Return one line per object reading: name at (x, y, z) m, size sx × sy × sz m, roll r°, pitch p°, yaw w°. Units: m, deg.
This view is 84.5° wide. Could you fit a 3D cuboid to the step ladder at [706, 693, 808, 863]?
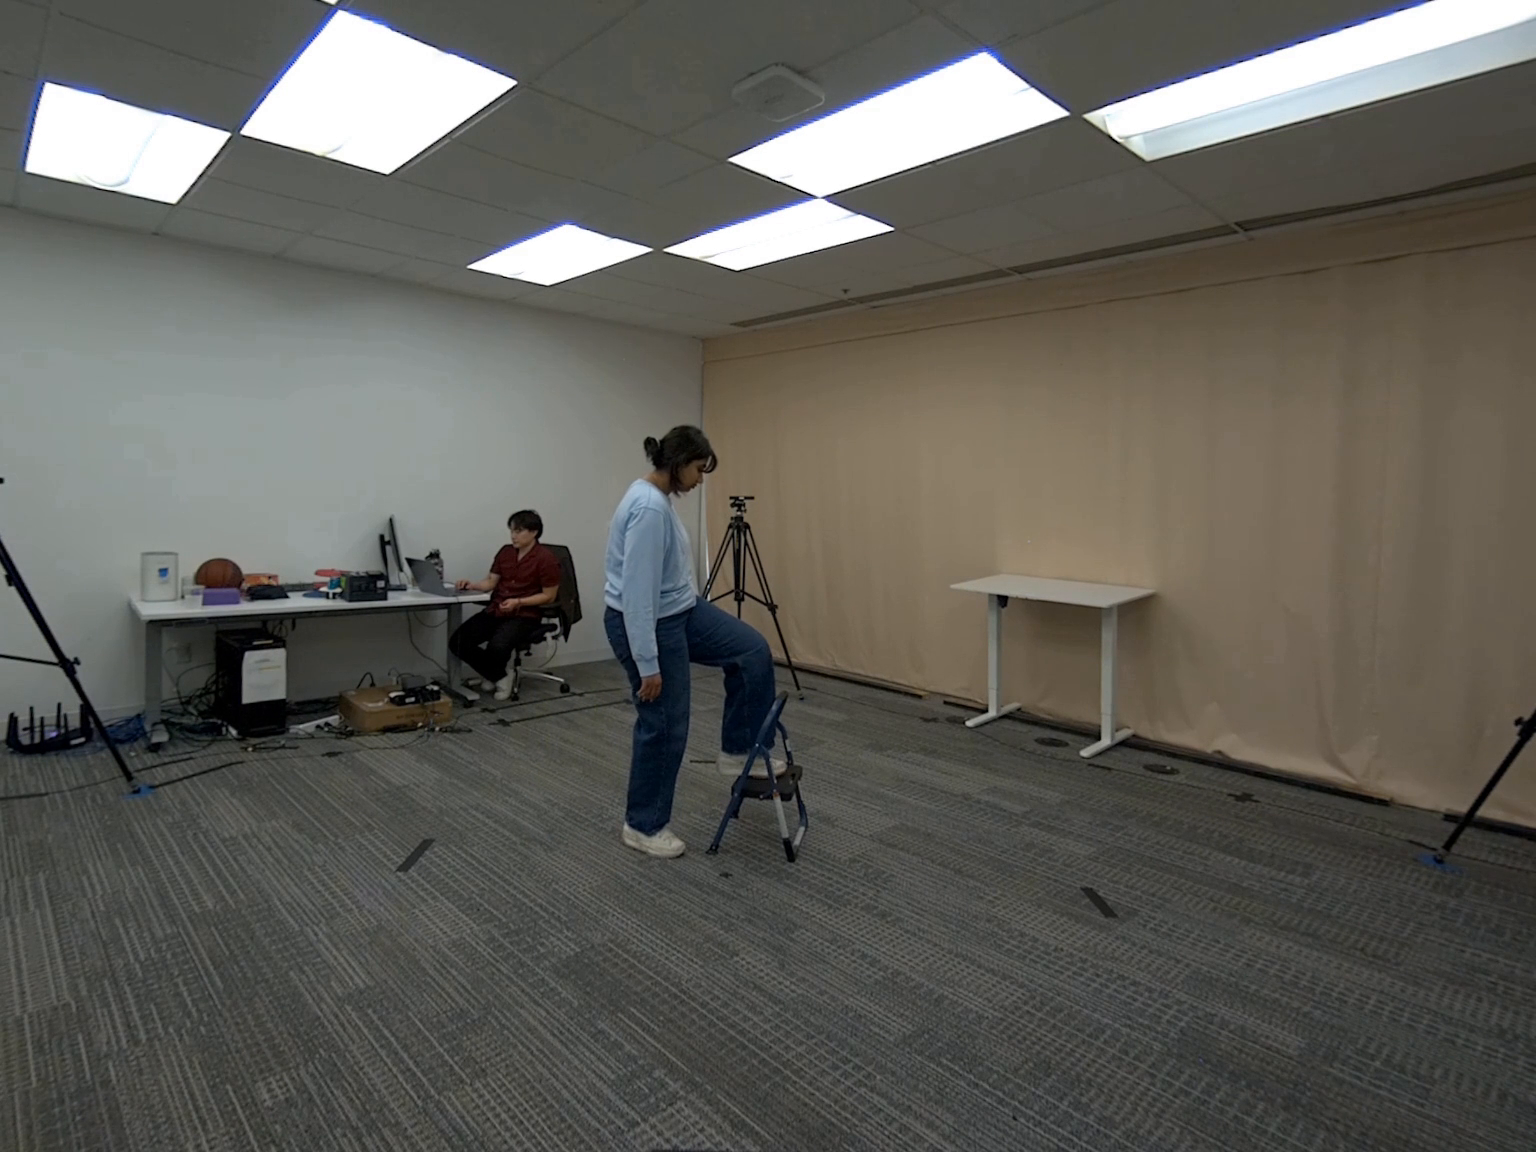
step ladder at (-0.030, 0.779, 3.441) m, size 0.352 × 0.604 × 0.428 m, roll 2°, pitch 4°, yaw 11°
